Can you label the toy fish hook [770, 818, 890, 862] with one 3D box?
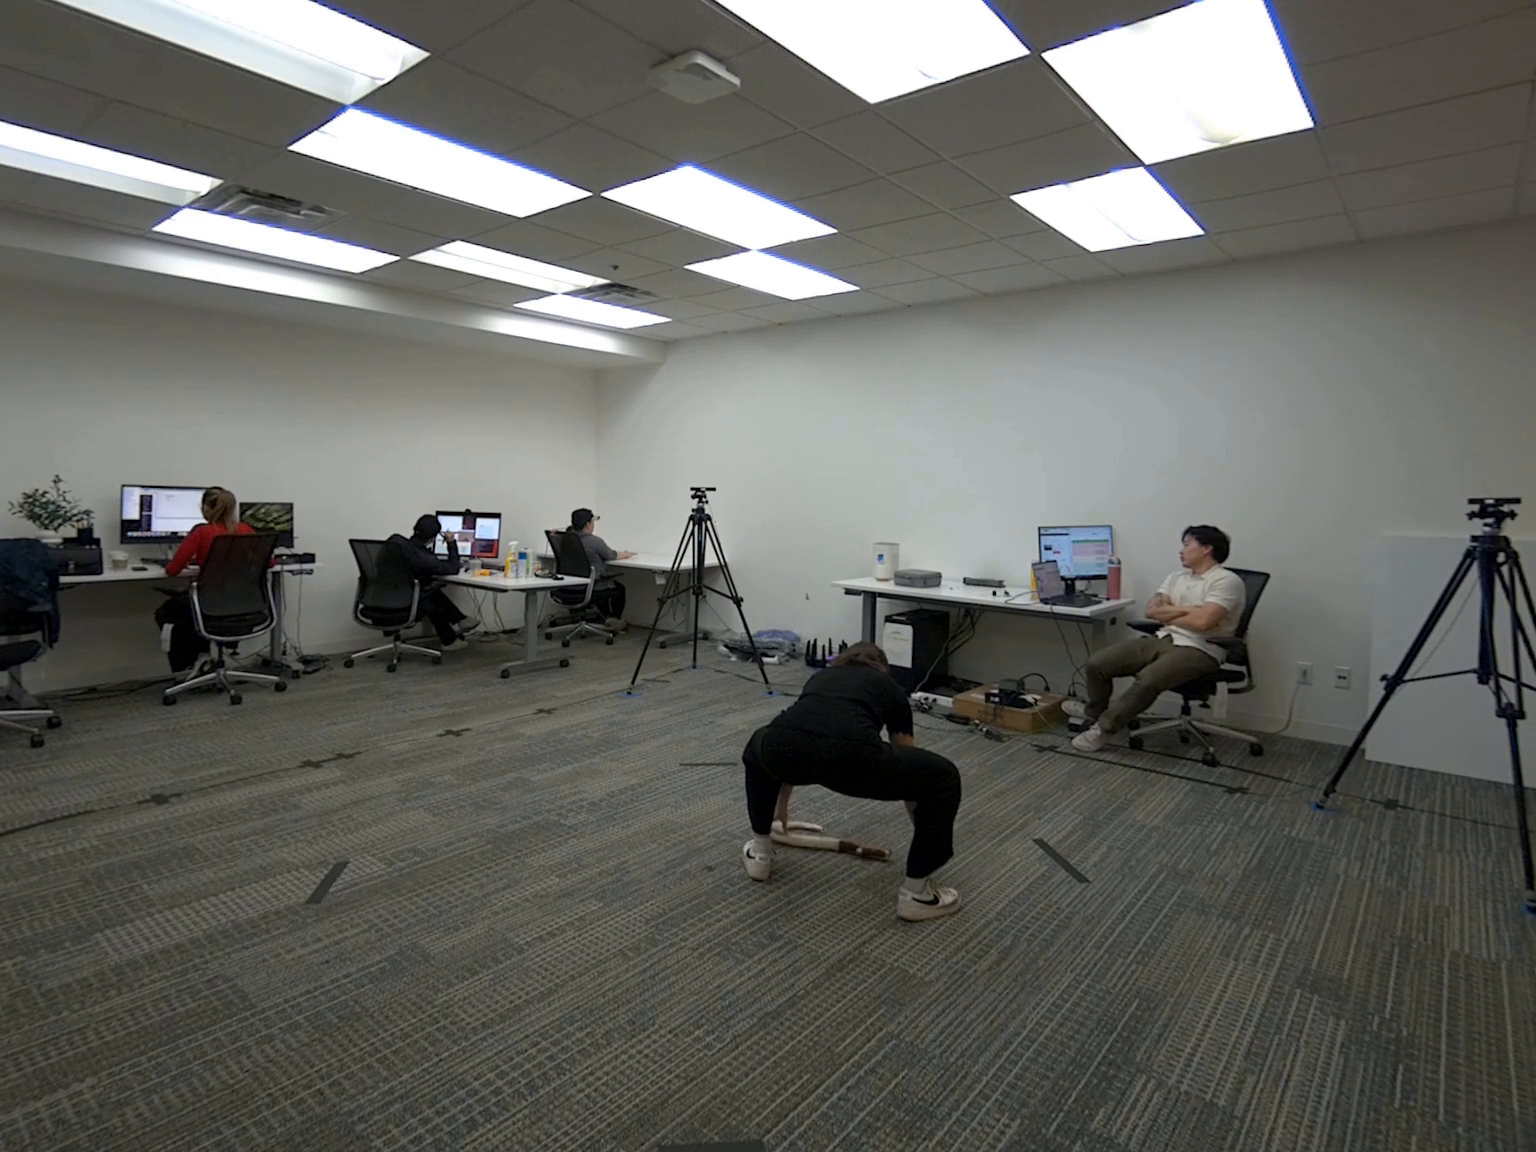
[{"bbox_3d":[0.243,1.028,3.351,0.519,0.048,0.220,3,9,23],"label":"toy fish hook"}]
